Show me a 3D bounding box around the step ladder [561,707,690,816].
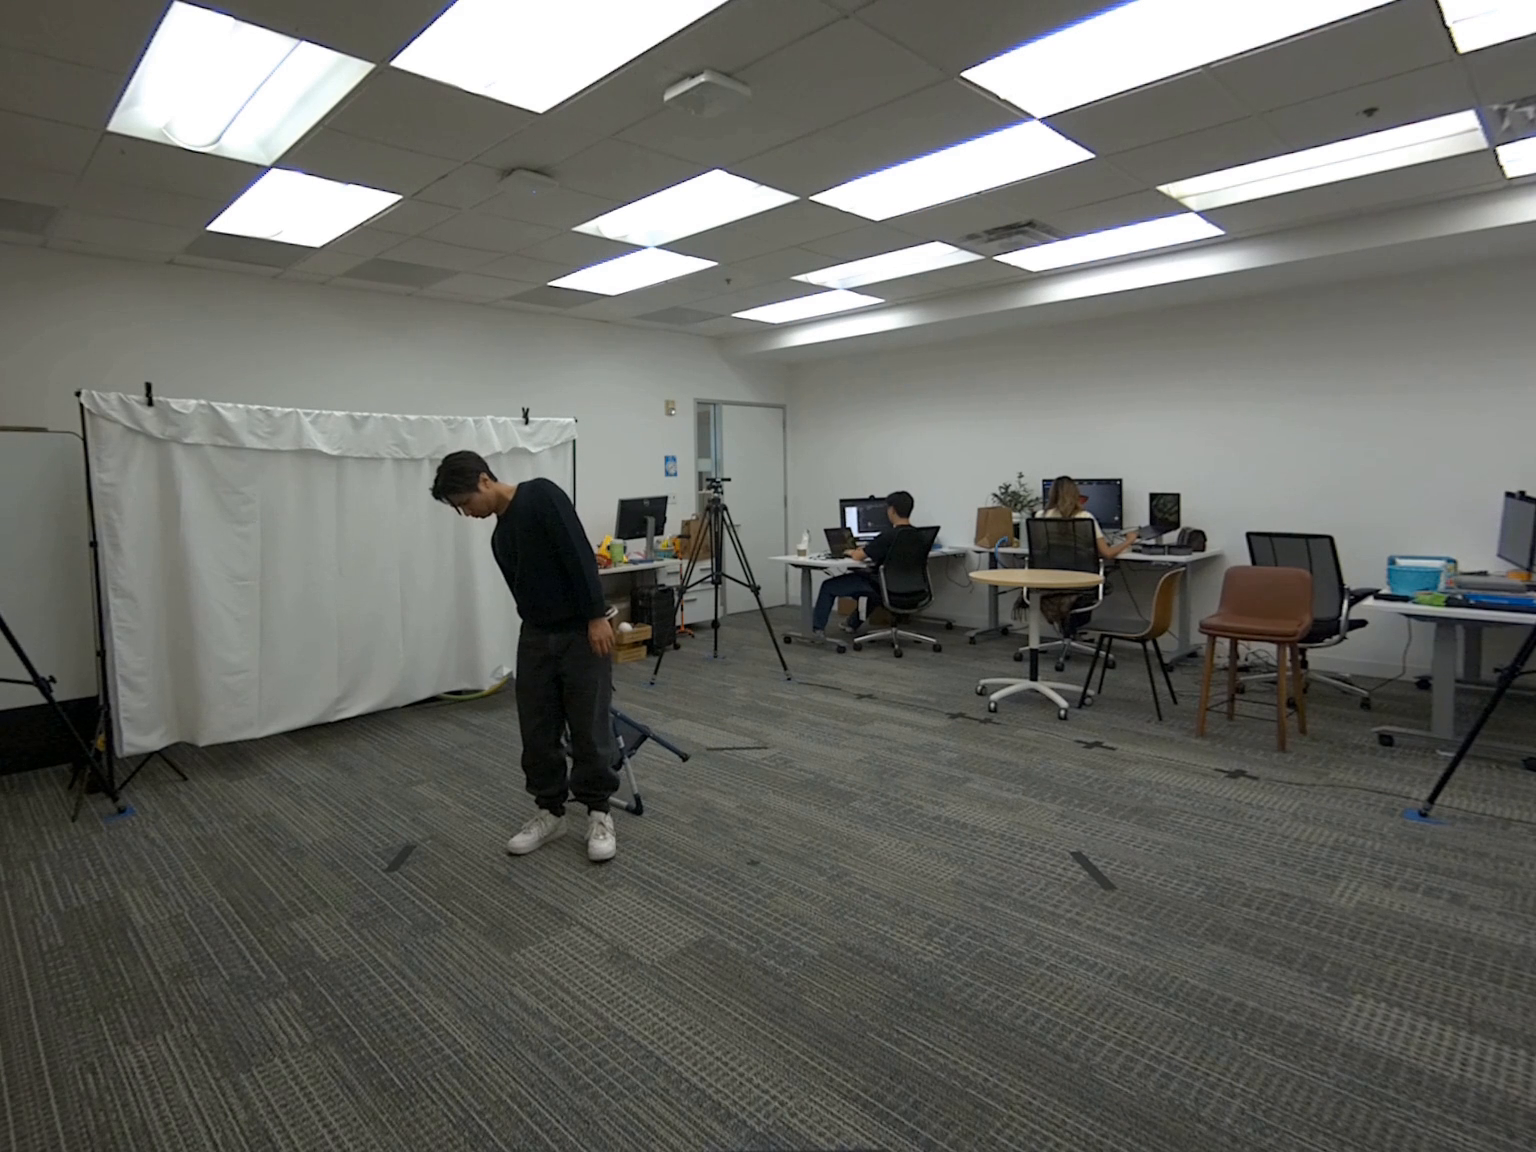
[{"bbox_3d":[-0.701,0.654,3.678,0.443,0.589,0.349,1,37,42],"label":"step ladder"}]
